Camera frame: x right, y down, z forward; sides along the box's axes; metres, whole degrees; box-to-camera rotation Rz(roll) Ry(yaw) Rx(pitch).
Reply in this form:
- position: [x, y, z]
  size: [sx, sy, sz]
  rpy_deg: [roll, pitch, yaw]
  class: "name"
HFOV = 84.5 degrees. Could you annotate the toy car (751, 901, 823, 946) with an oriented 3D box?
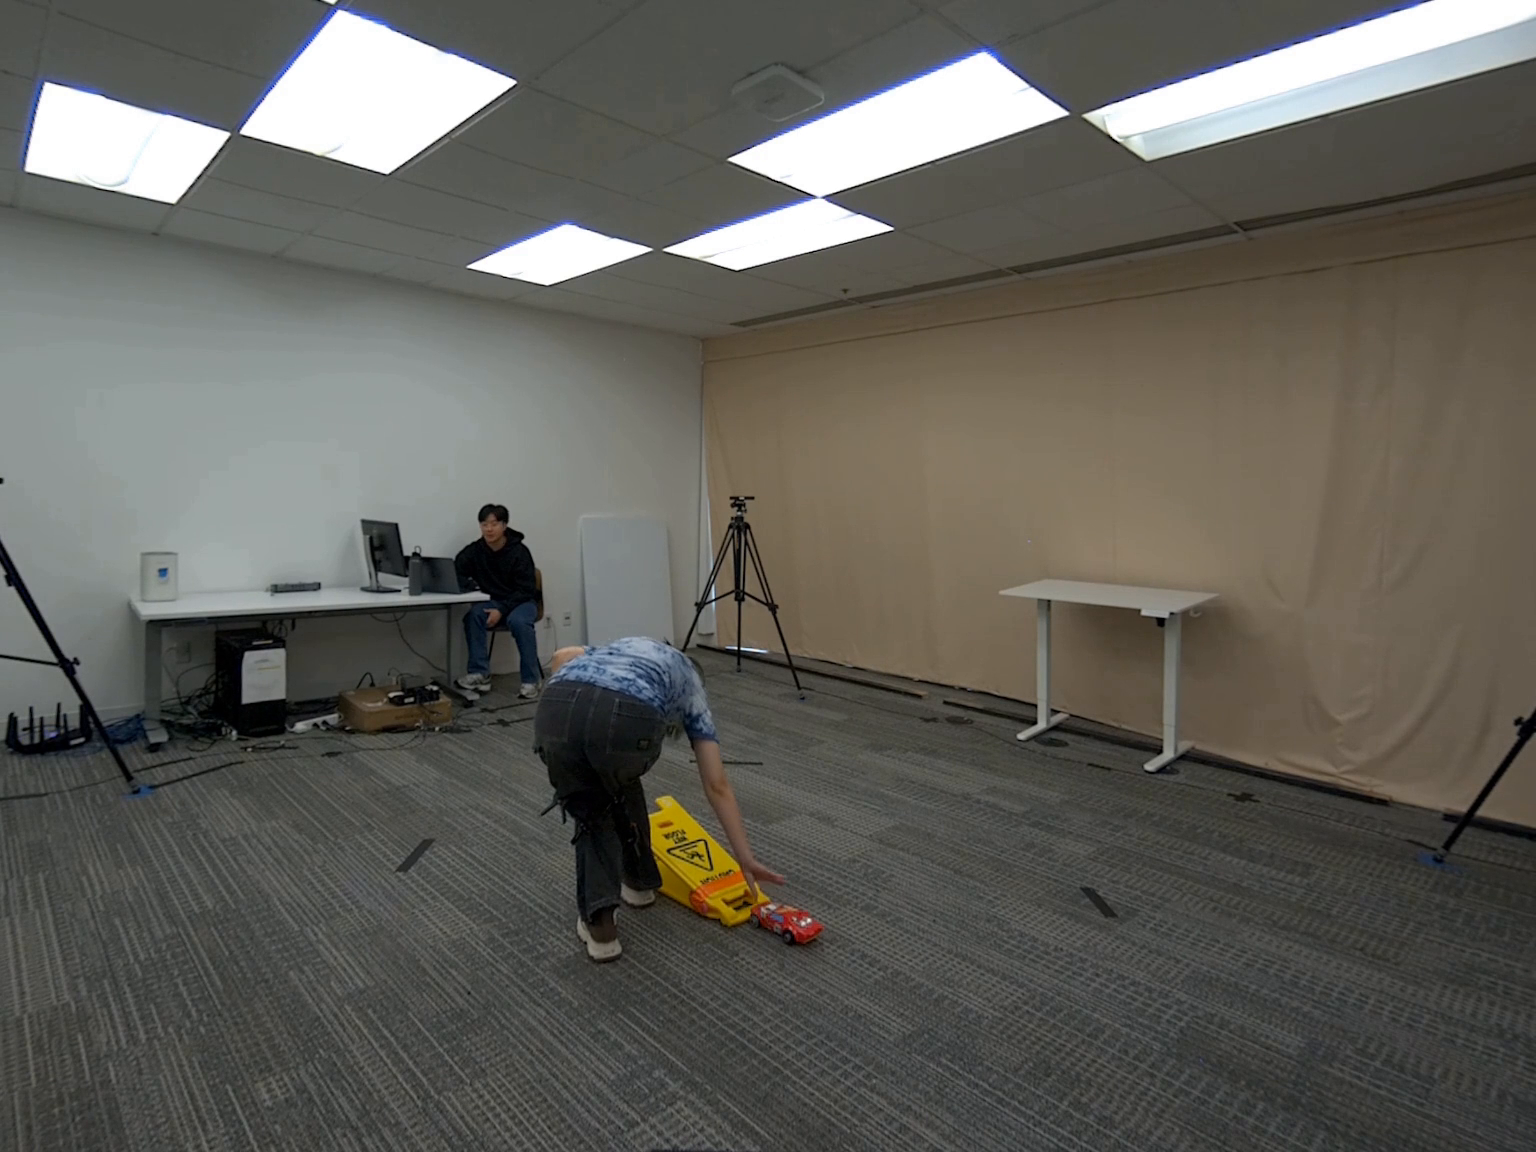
- position: [0.057, 1.113, 2.692]
  size: [0.259, 0.083, 0.127]
  rpy_deg: [-8, -3, 44]
  class: "toy car"
